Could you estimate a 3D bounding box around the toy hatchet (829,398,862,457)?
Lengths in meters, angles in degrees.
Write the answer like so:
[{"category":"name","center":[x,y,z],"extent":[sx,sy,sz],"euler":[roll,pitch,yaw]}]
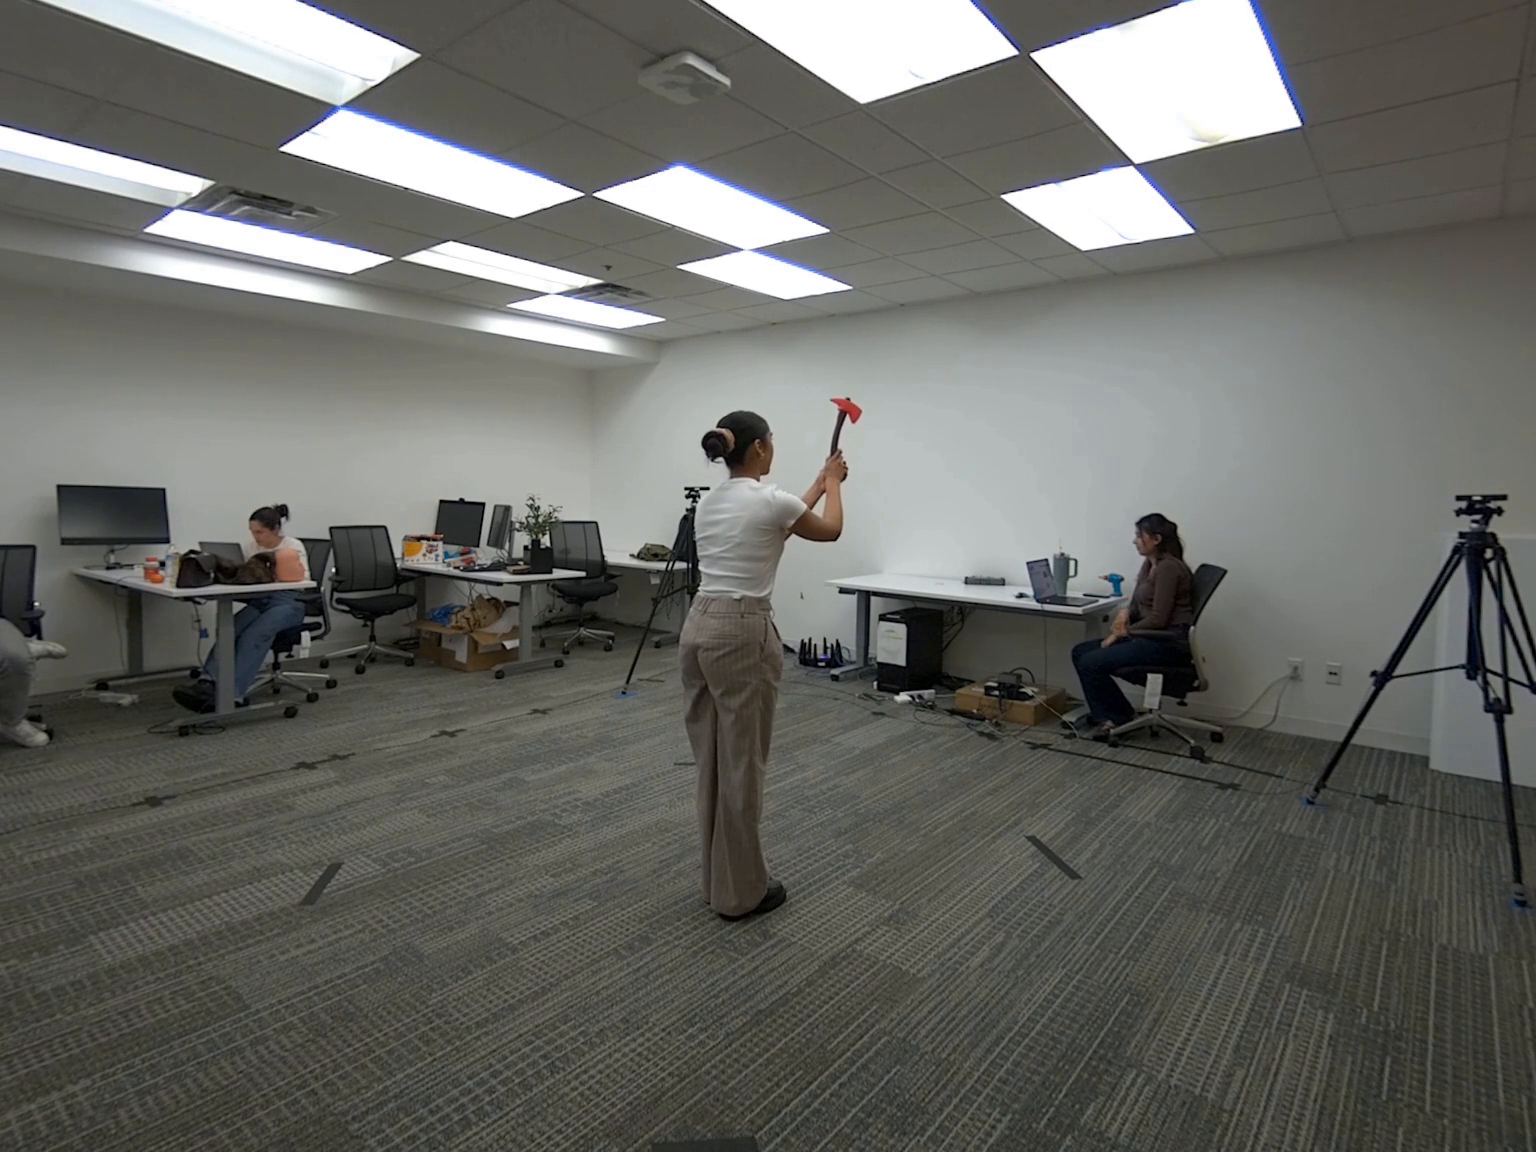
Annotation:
[{"category":"toy hatchet","center":[0.276,-0.506,3.106],"extent":[0.128,0.269,0.030],"euler":[1,3,-20]}]
